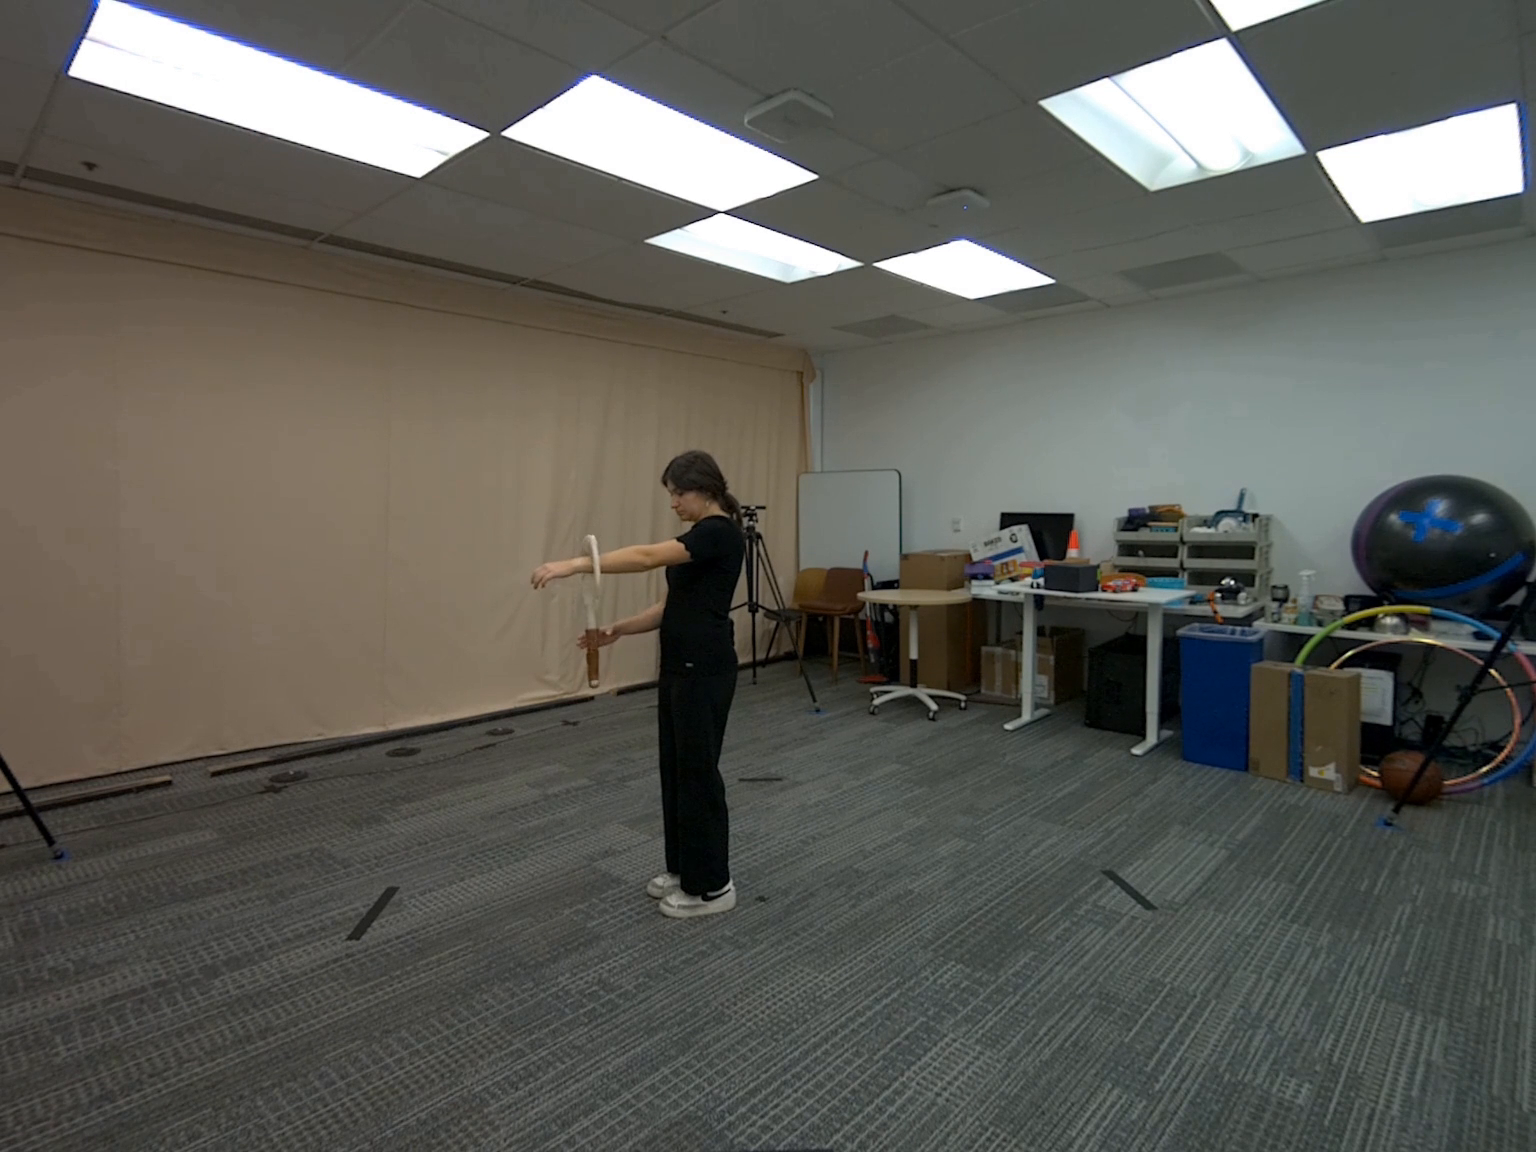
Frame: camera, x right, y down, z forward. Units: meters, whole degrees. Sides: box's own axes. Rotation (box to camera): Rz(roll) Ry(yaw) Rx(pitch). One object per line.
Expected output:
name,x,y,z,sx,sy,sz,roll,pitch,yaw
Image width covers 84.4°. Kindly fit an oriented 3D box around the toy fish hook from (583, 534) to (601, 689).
toy fish hook,-0.563,0.125,2.706,0.048,0.505,0.228,-3,6,-13
